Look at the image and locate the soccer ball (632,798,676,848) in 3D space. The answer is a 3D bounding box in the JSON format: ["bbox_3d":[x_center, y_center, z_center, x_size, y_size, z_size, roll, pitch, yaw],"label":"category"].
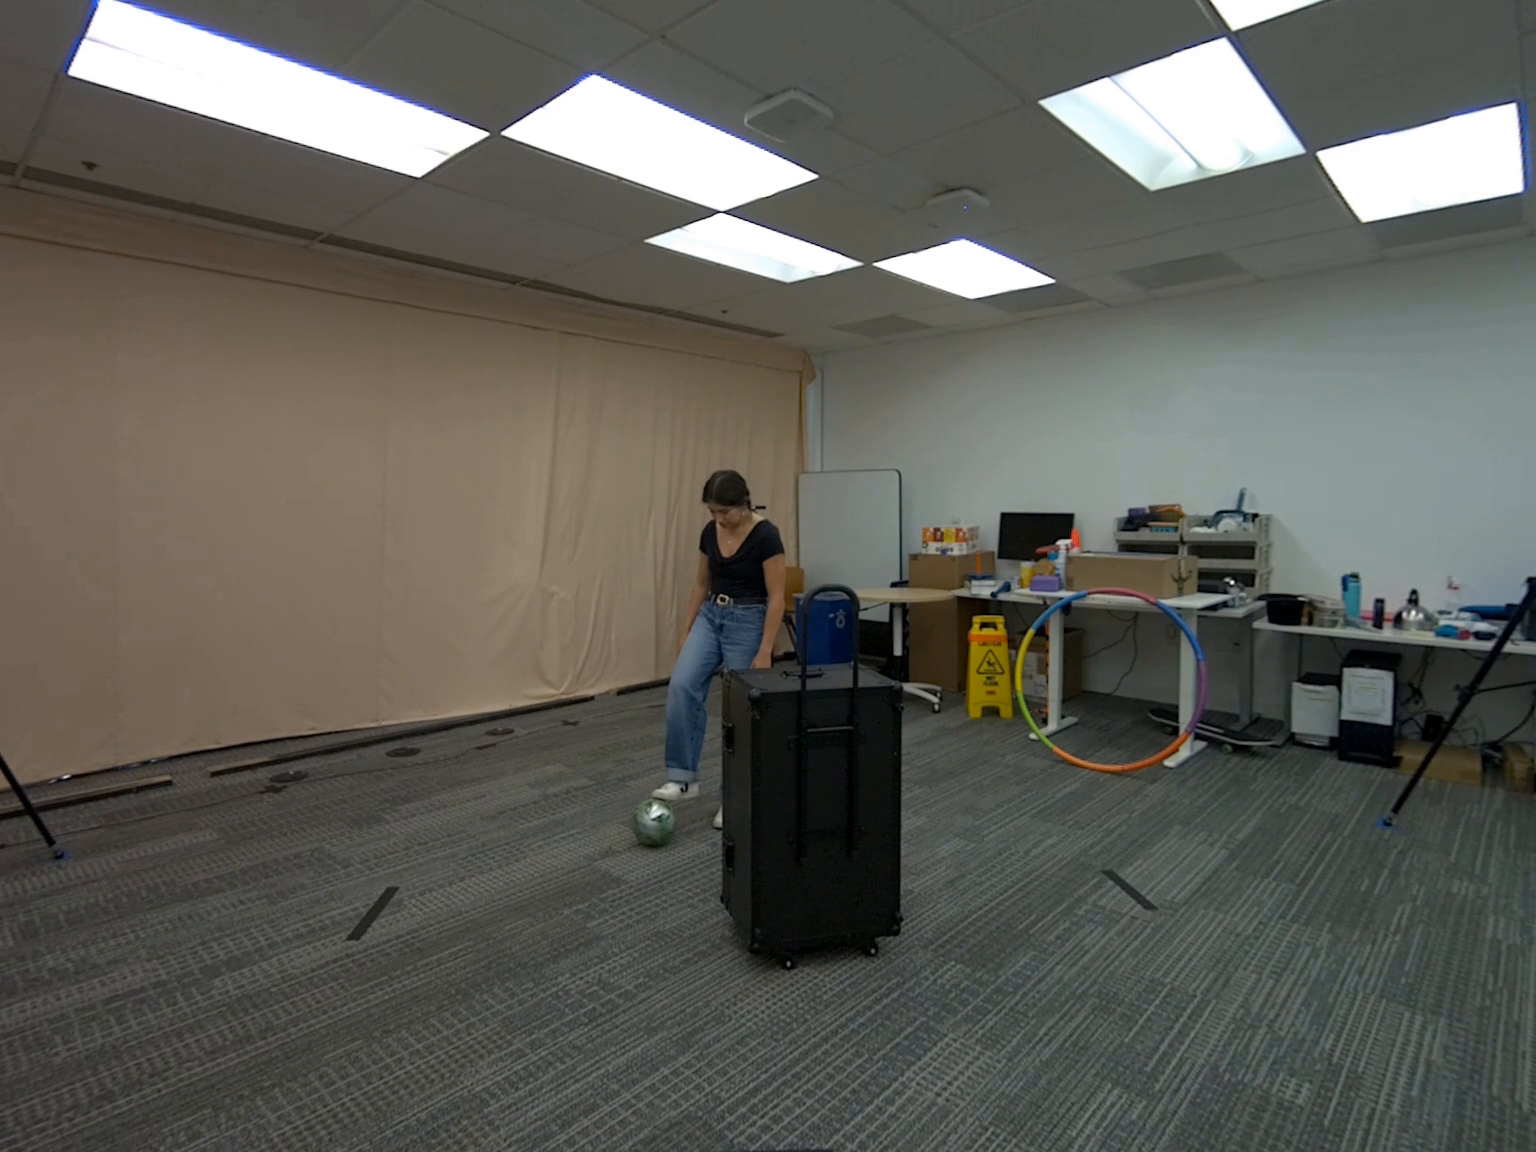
[{"bbox_3d":[-0.465,1.016,3.464,0.187,0.187,0.188,0,4,-2],"label":"soccer ball"}]
